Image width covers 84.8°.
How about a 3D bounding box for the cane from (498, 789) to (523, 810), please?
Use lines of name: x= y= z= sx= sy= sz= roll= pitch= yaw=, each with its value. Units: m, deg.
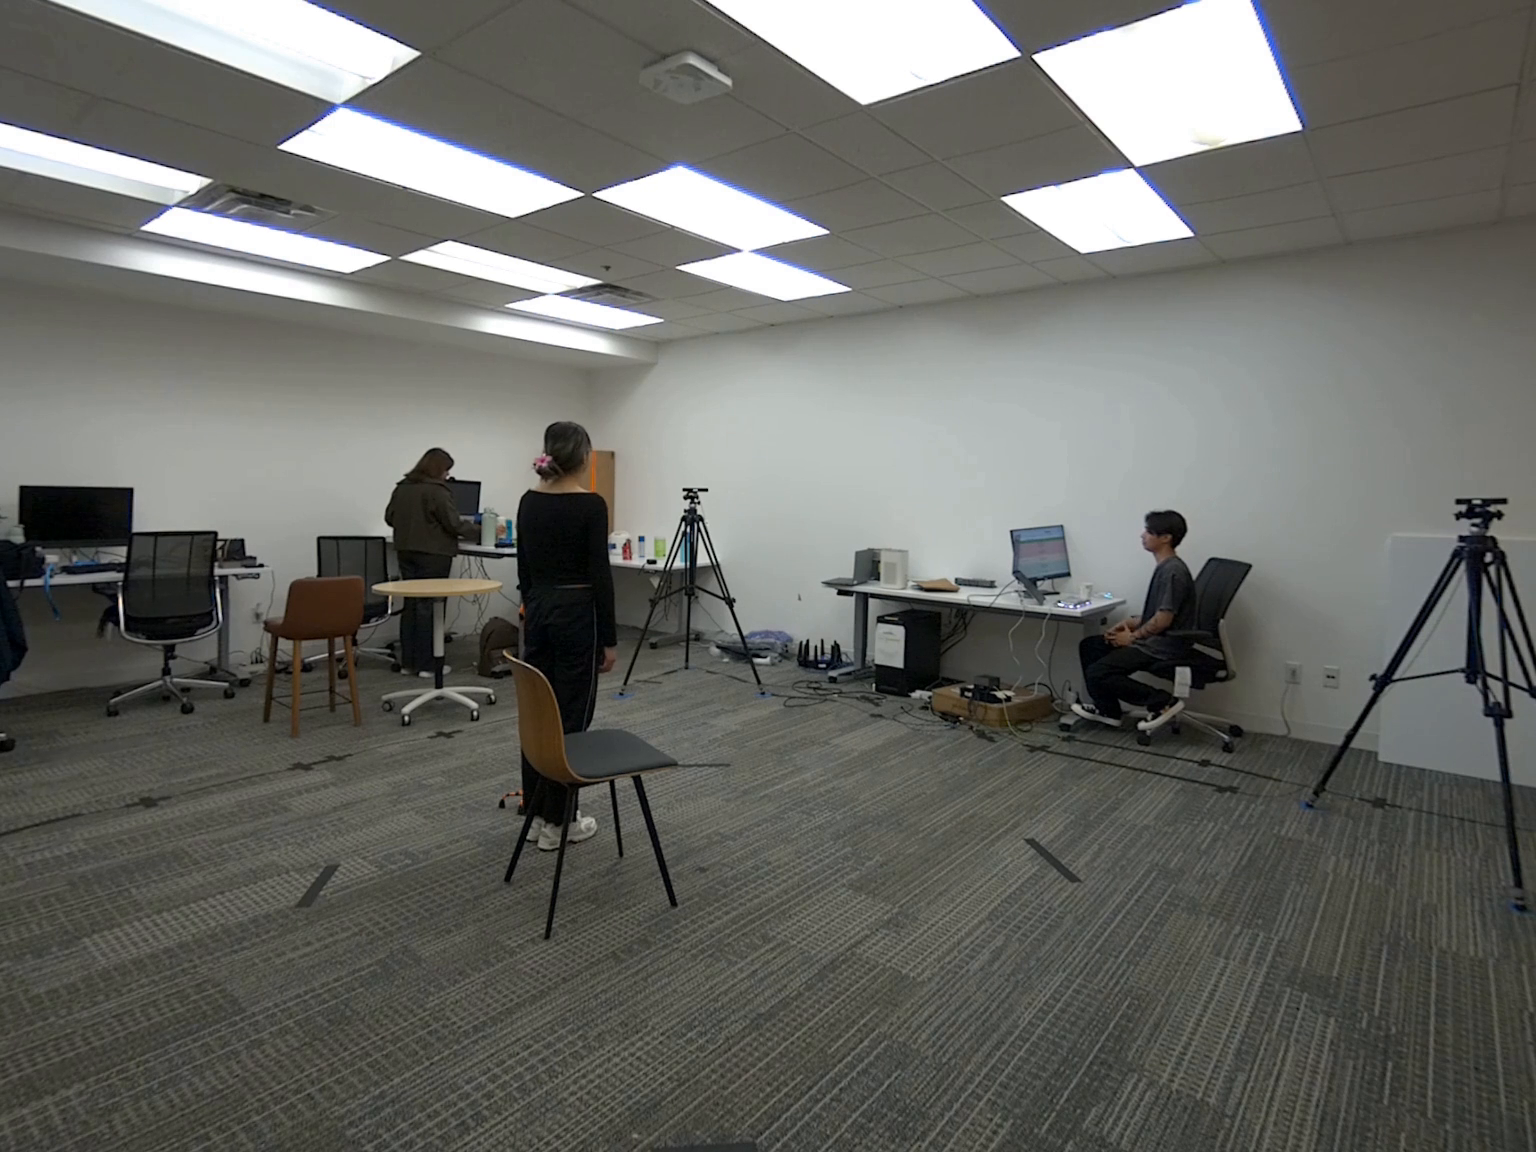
cane: x=-1.044 y=0.544 z=3.690 sx=0.156 sy=0.905 sz=0.200 roll=4 pitch=3 yaw=34
